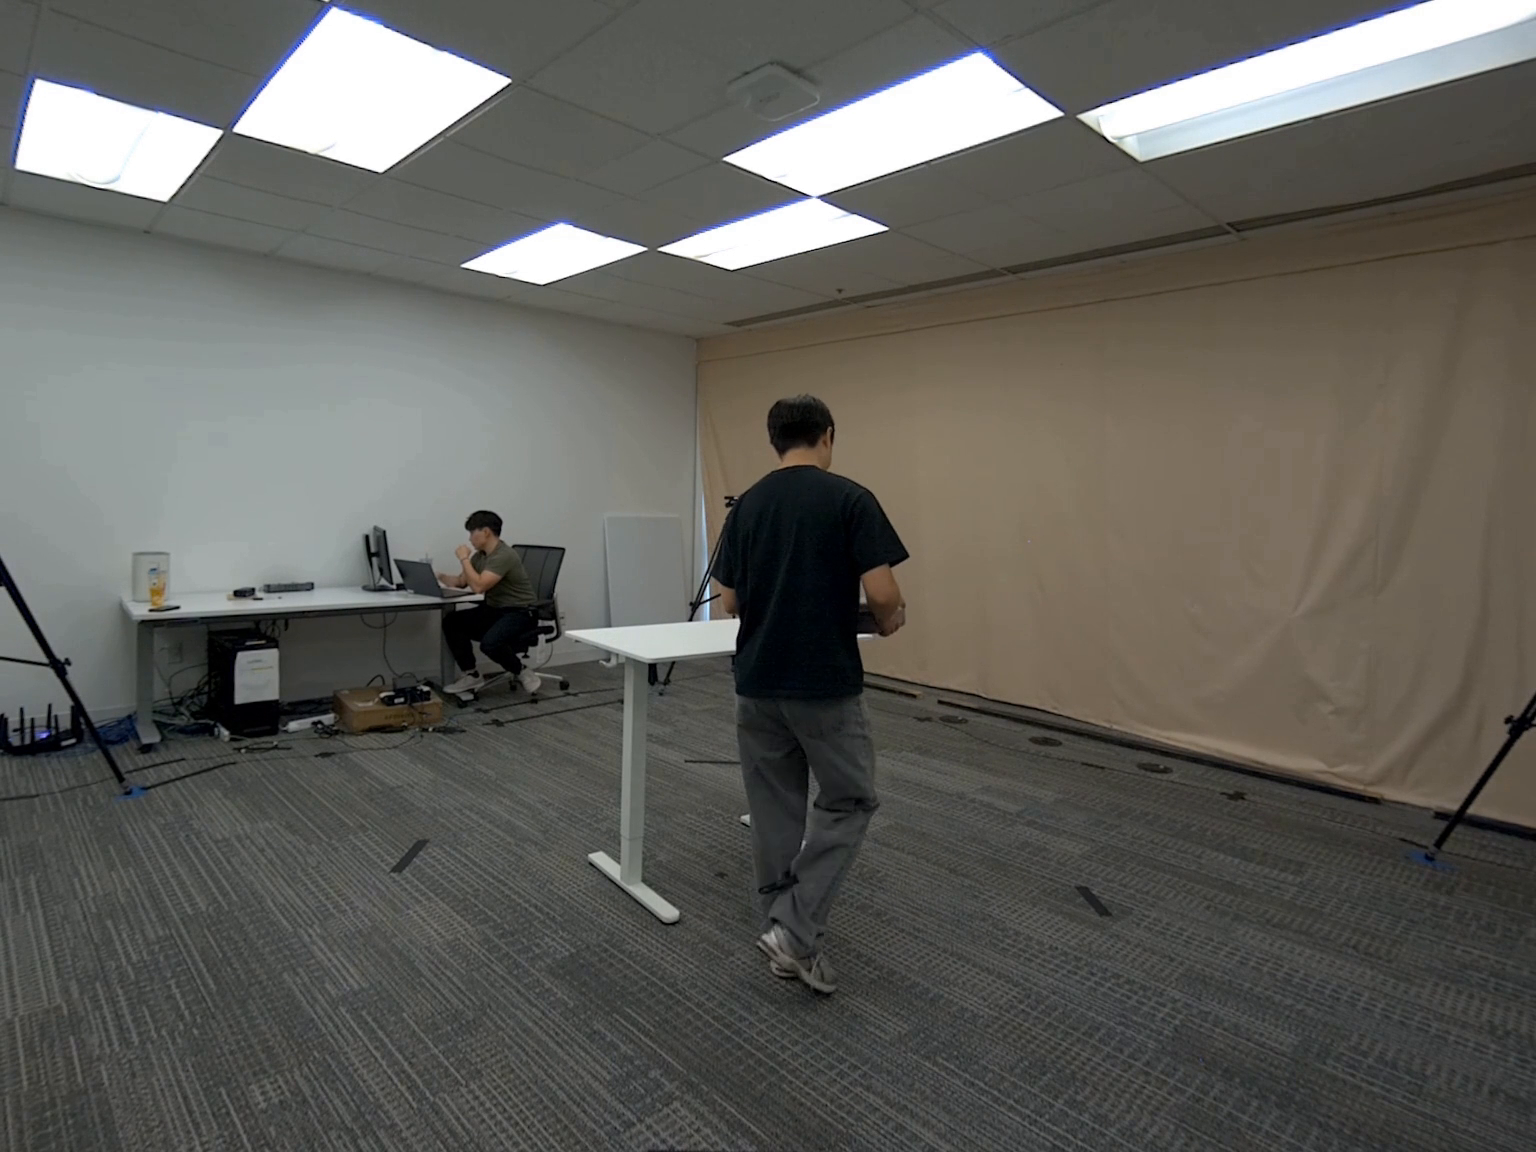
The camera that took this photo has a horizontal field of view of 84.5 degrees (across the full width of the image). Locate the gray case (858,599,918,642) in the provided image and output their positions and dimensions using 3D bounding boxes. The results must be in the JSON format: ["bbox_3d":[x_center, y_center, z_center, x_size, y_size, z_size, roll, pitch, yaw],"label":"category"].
[{"bbox_3d":[0.283,0.139,2.716,0.269,0.103,0.281,-3,1,44],"label":"gray case"}]
